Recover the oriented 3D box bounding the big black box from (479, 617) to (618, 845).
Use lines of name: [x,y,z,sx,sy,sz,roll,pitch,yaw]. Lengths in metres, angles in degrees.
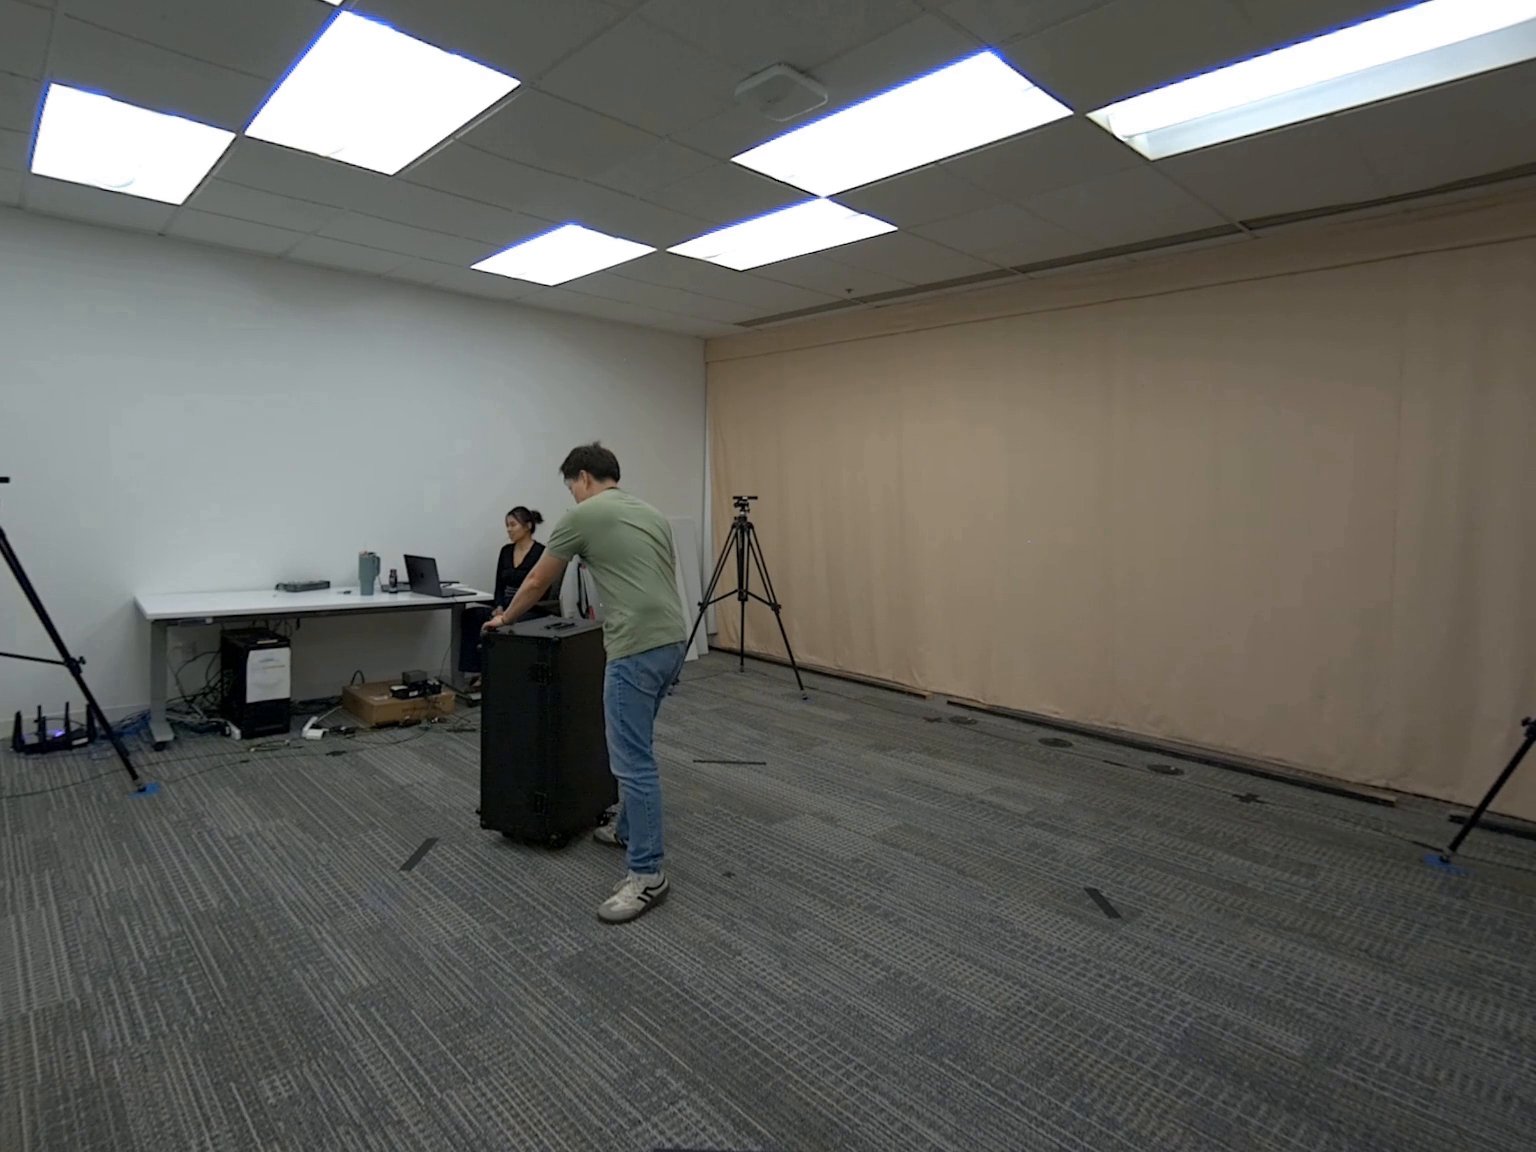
big black box: [-0.895,0.633,3.447,0.403,0.860,0.513,3,3,21]
